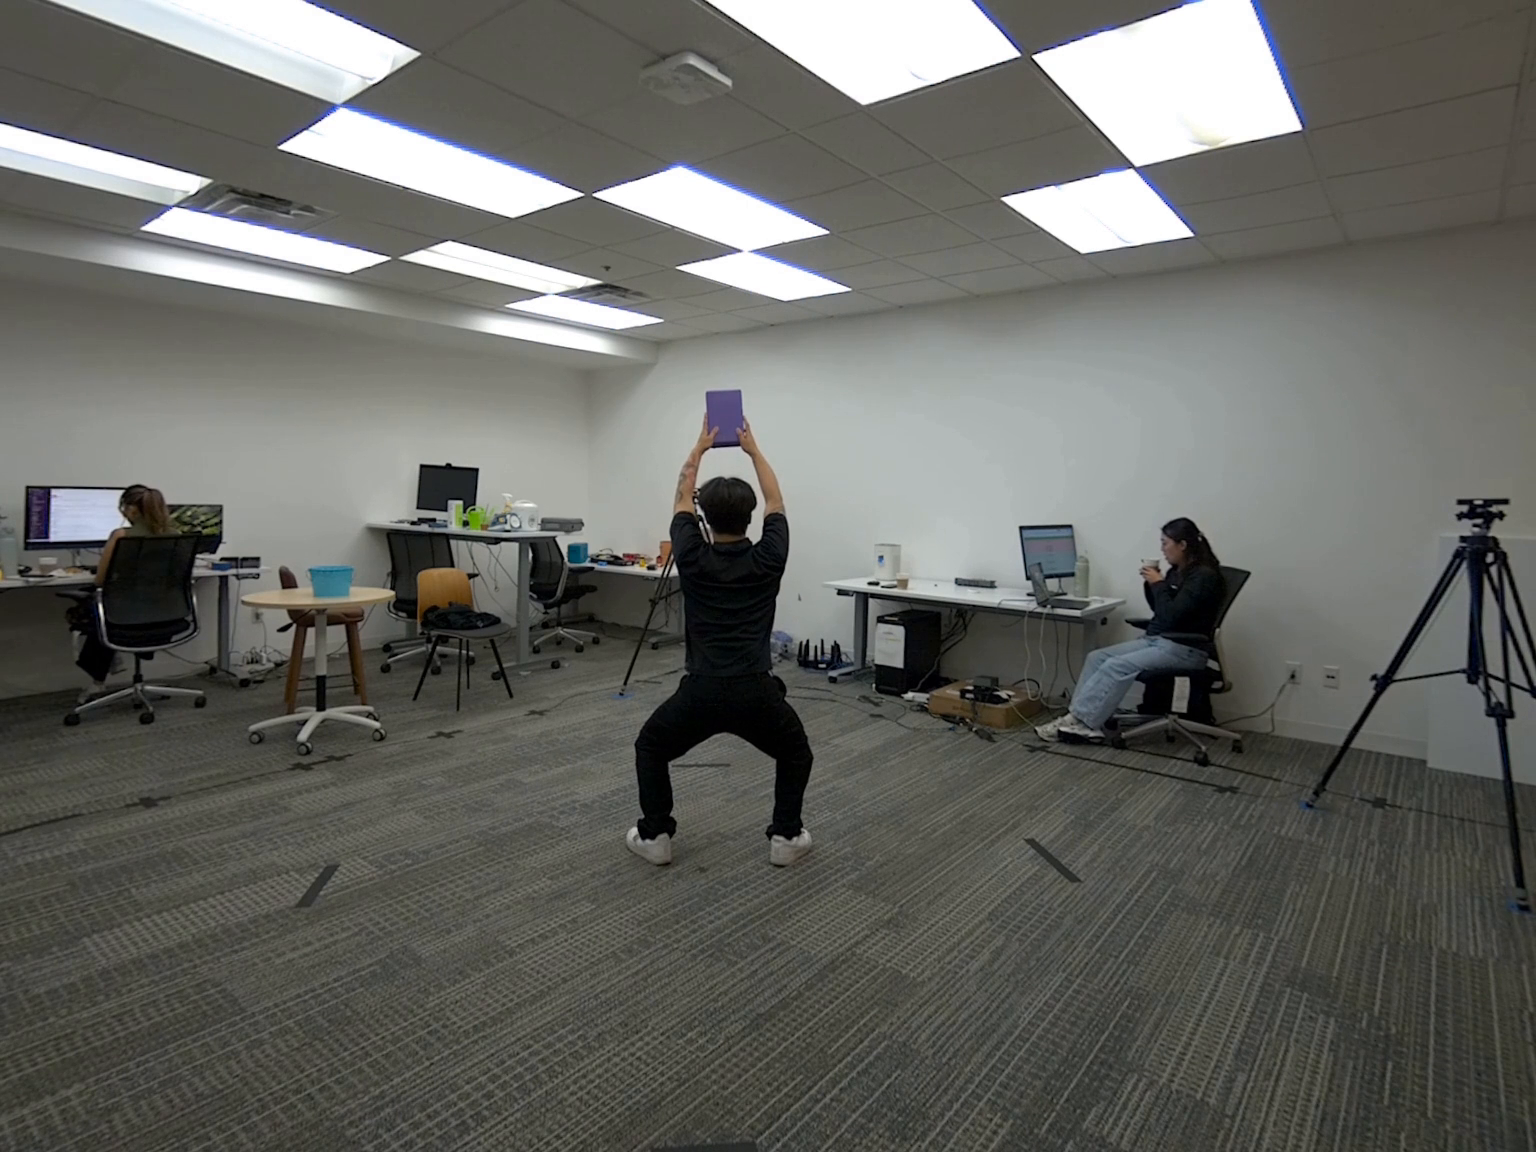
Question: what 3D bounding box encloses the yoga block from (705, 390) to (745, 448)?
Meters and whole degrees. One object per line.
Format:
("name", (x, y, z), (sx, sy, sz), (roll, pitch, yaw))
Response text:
("yoga block", (-0.187, -0.656, 3.515), (0.149, 0.231, 0.076), (-6, -8, -1))
